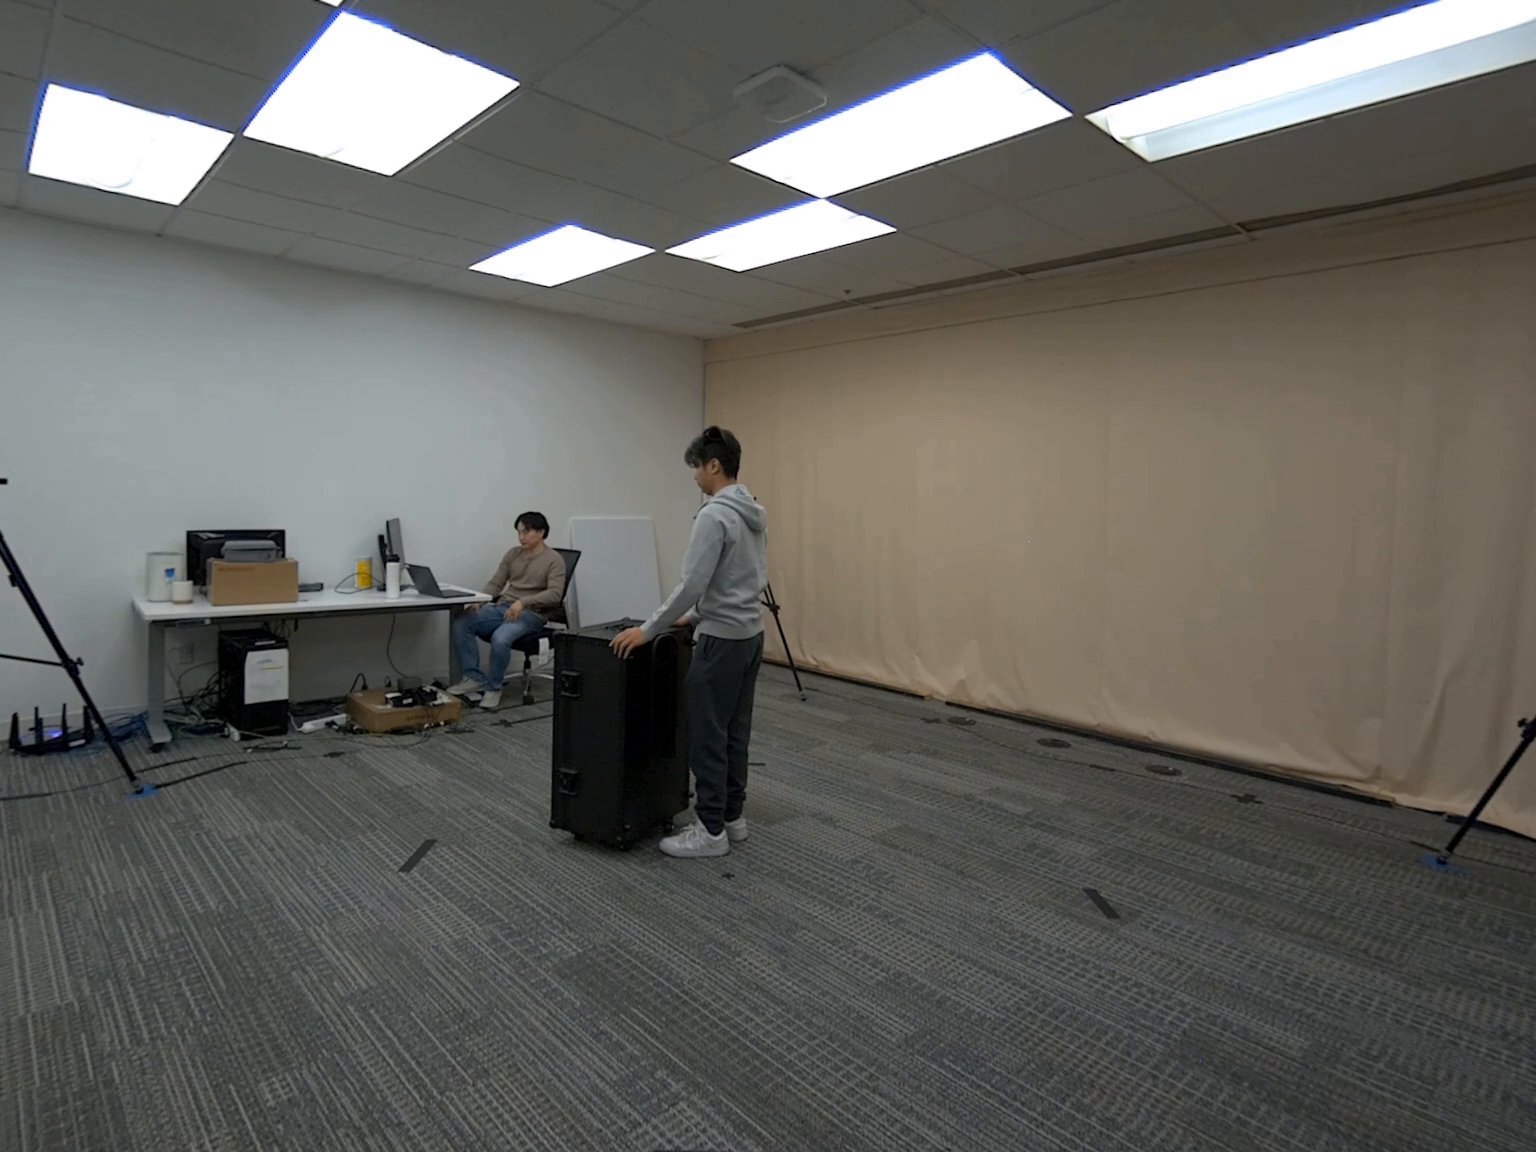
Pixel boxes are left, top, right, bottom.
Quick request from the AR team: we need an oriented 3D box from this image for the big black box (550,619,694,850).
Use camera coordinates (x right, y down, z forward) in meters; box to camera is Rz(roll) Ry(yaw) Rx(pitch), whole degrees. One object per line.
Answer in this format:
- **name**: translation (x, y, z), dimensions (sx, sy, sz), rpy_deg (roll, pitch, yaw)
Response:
- **big black box**: translation (-0.586, 0.639, 3.445), dimensions (0.404, 0.859, 0.512), rpy_deg (4, 4, 27)
